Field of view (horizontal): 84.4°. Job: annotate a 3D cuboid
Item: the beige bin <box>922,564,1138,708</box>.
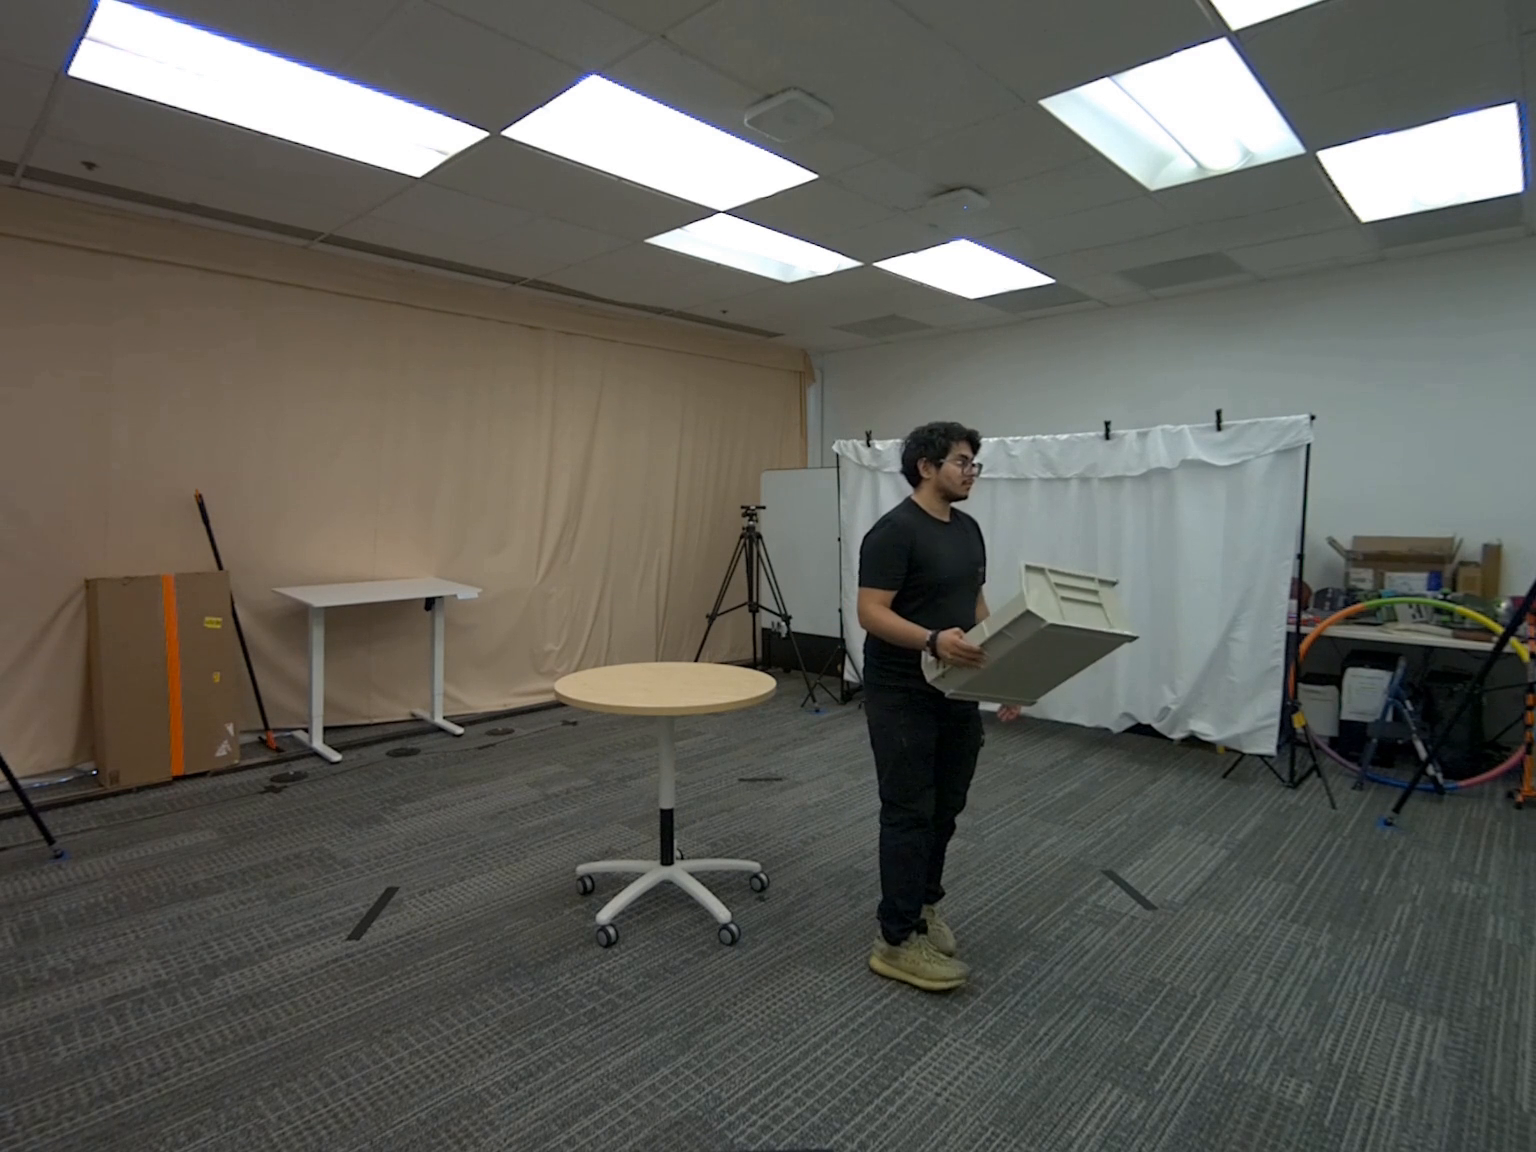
[{"bbox_3d":[0.687,0.169,2.266,0.367,0.193,0.424,11,-38,-26],"label":"beige bin"}]
